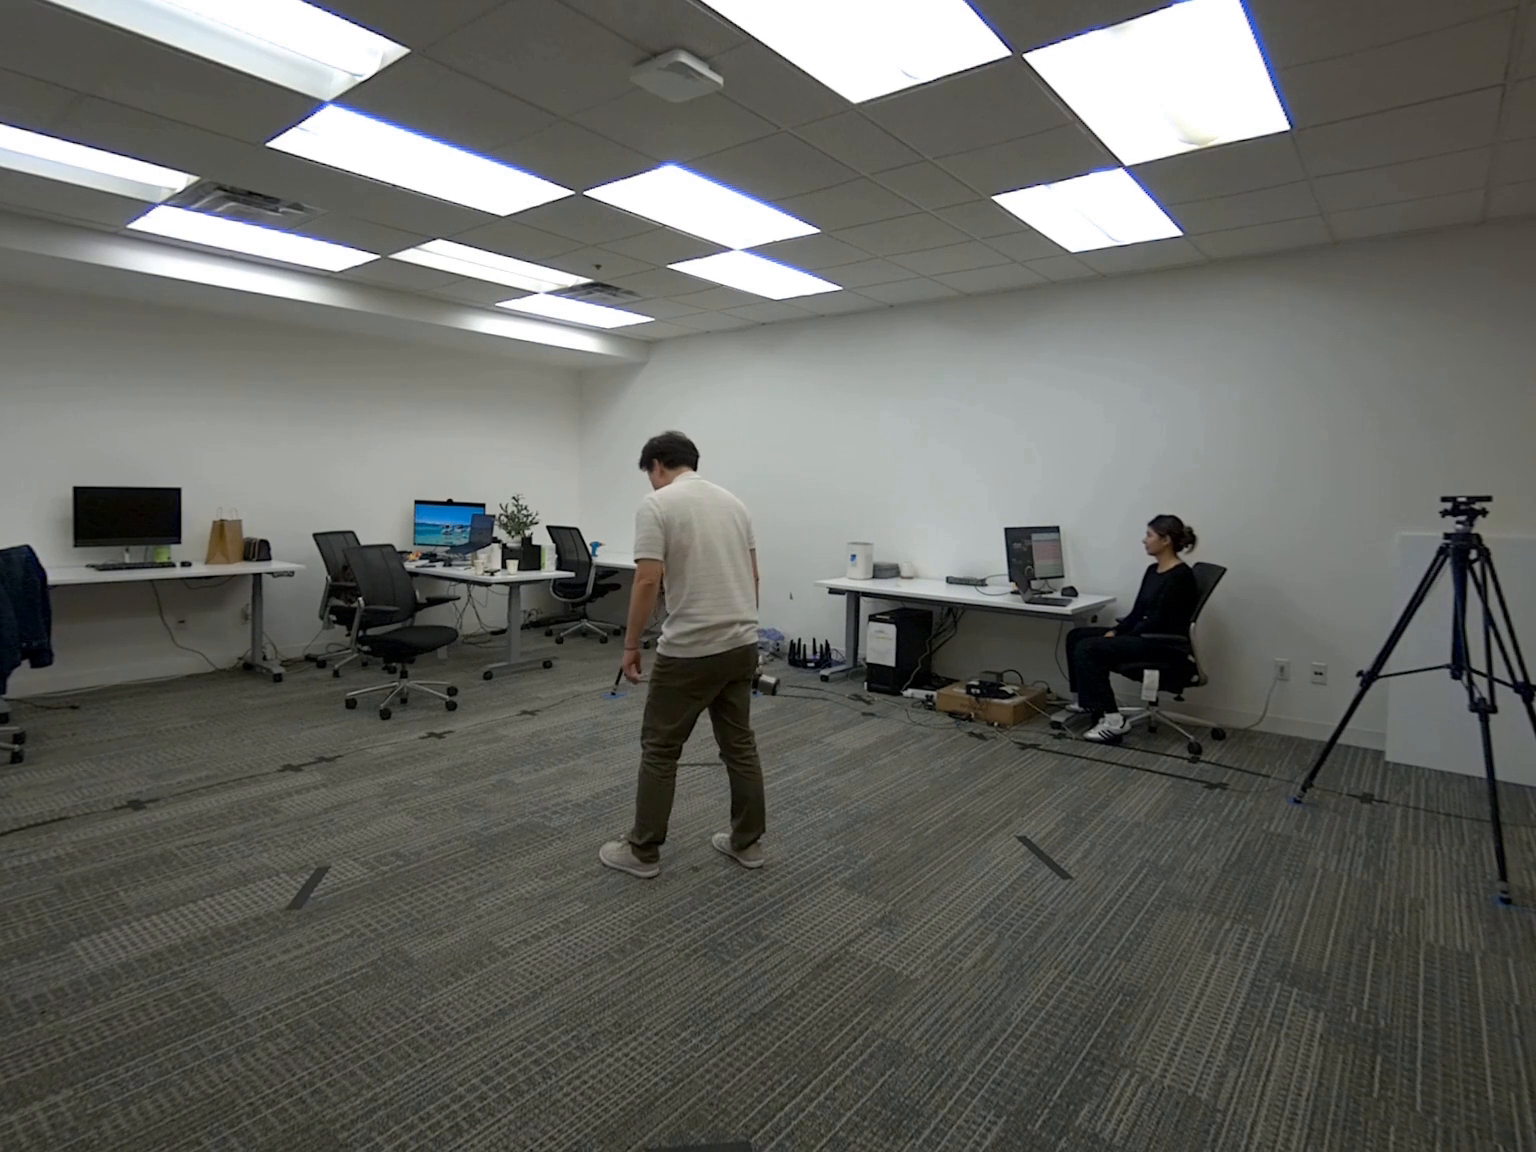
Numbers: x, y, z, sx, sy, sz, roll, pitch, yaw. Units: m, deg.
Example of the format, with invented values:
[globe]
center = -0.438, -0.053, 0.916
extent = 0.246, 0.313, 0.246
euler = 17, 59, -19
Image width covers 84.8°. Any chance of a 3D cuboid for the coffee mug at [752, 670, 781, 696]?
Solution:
[coffee mug]
center = -0.067, 0.392, 3.351
extent = 0.208, 0.118, 0.088
euler = 12, 42, 19
